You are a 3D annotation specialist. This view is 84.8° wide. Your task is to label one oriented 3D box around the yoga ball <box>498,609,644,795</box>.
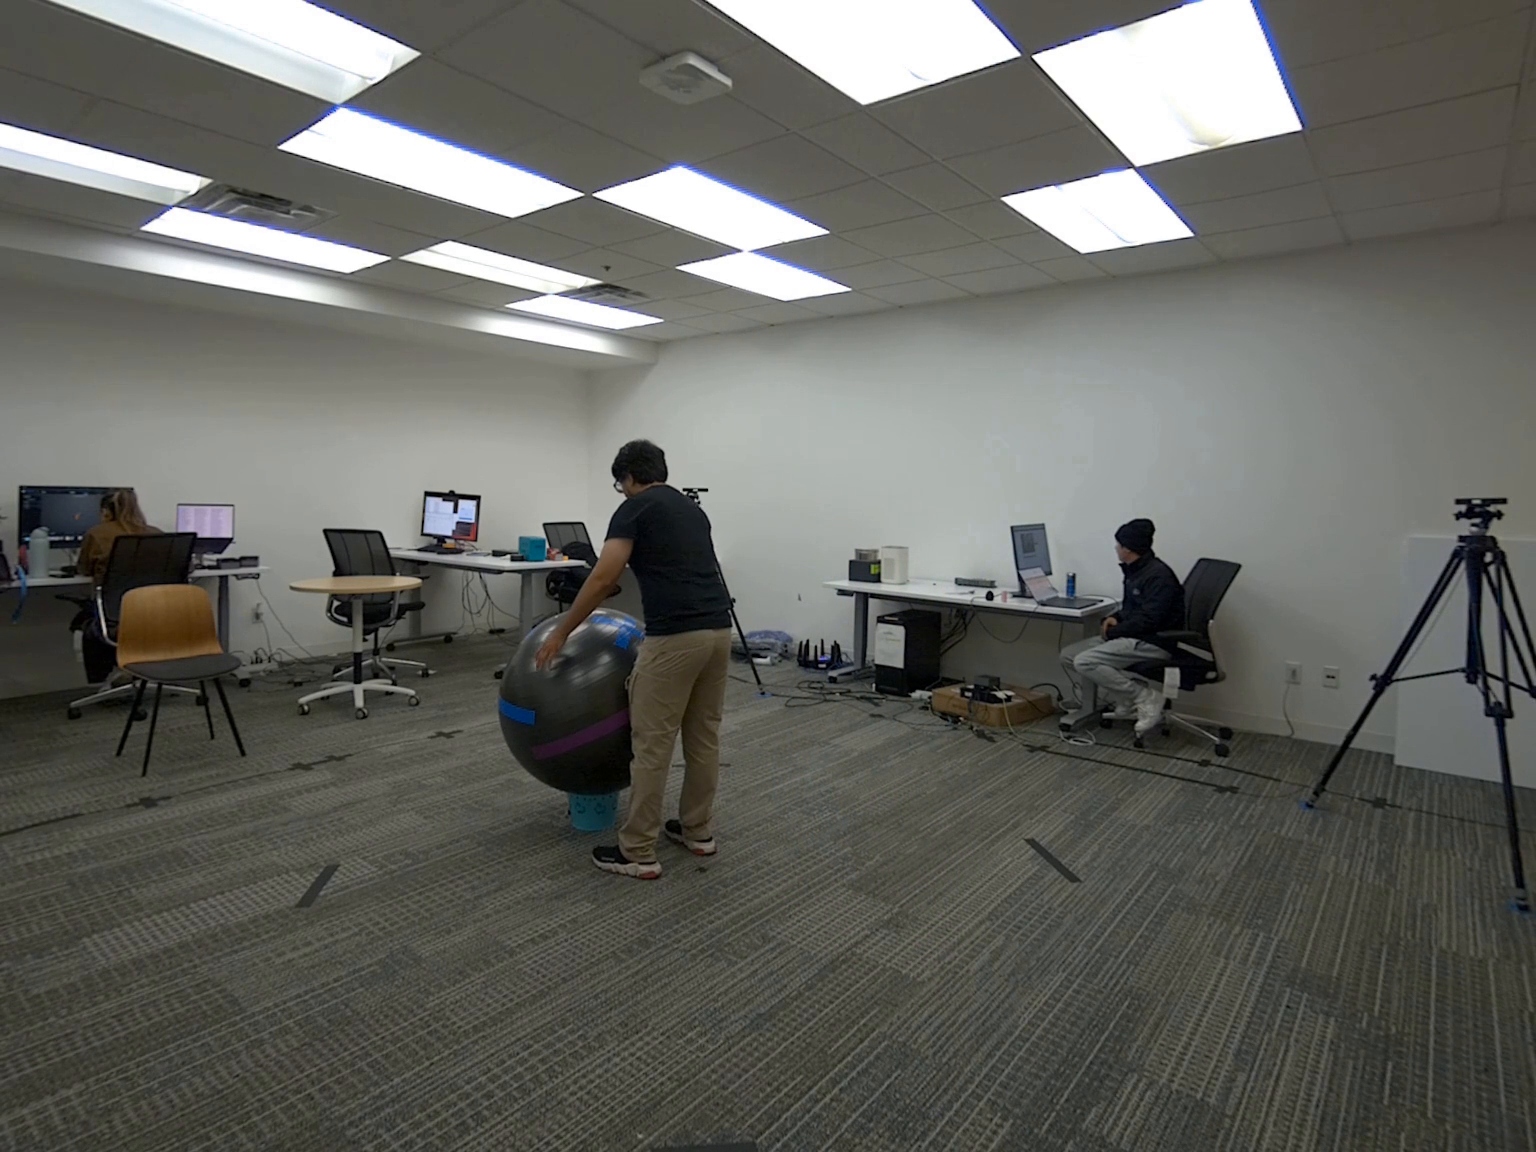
[{"bbox_3d":[-0.748,0.516,3.518,0.757,0.756,0.761,1,4,-2],"label":"yoga ball"}]
